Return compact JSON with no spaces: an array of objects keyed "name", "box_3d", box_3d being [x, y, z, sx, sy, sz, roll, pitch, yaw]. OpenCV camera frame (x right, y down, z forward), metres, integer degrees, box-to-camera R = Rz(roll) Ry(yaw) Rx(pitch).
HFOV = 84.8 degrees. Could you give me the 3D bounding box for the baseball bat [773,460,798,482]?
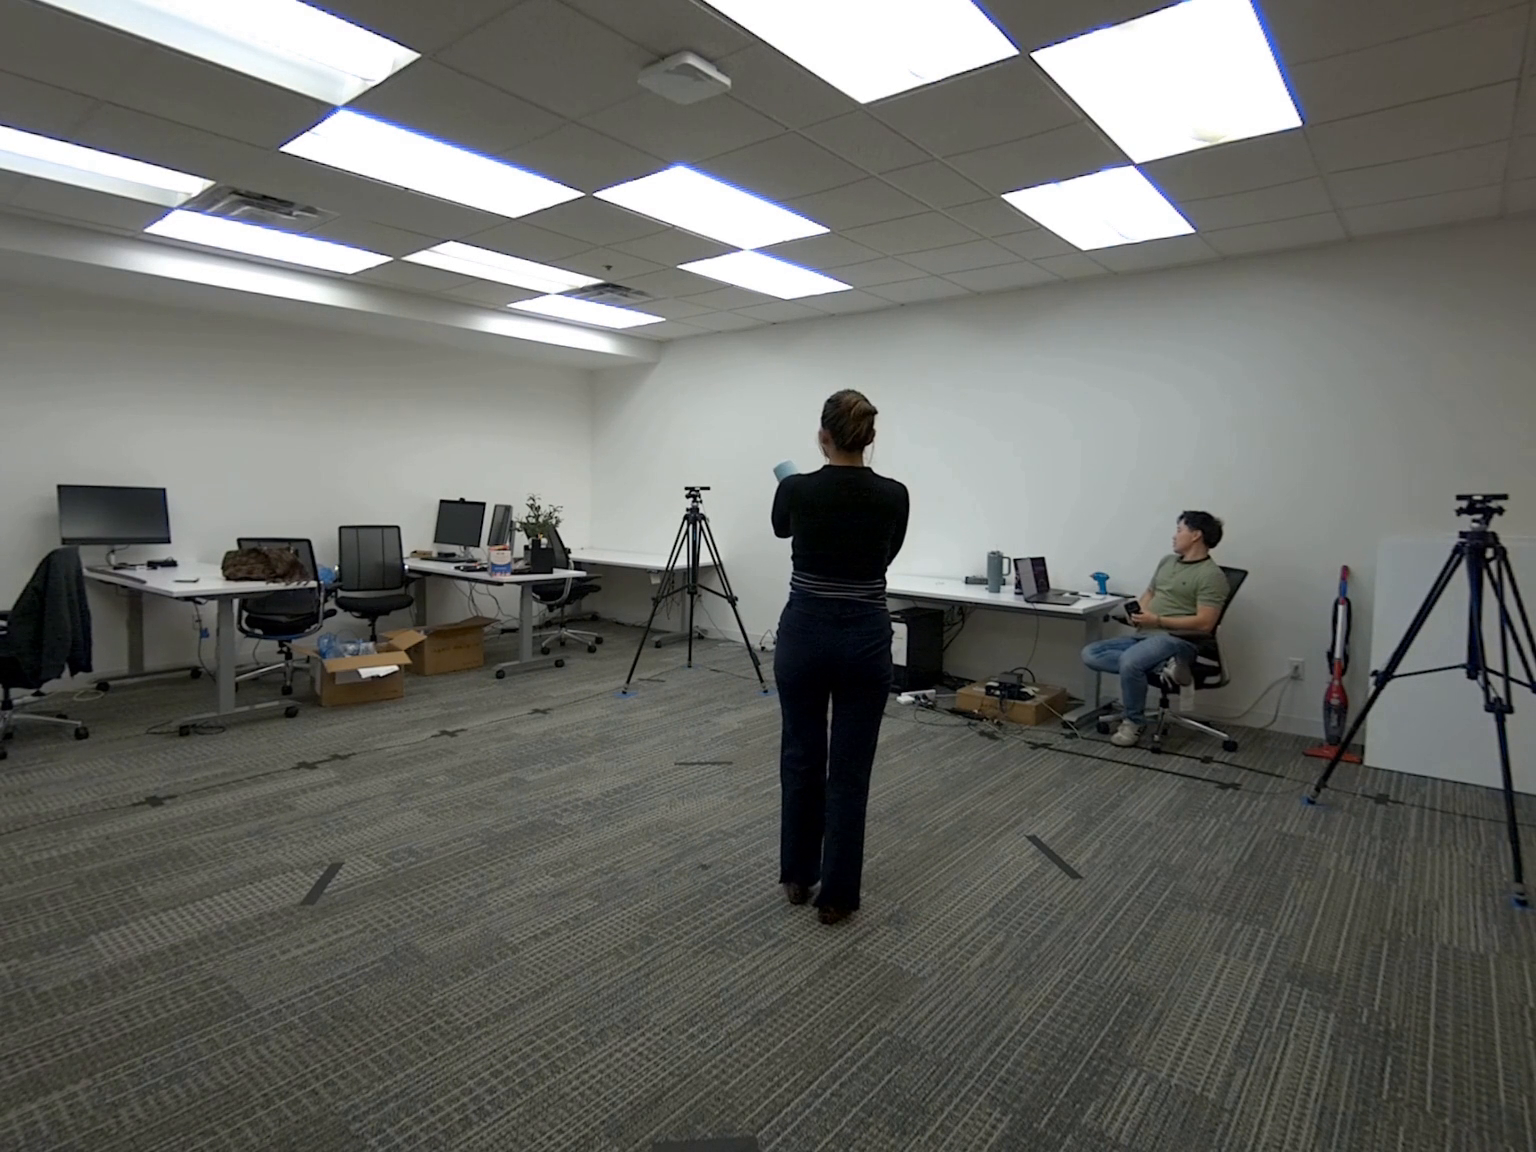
[{"name":"baseball bat","box_3d":[0.170,-0.210,3.334,0.089,0.551,0.088,-26,-11,-6]}]
